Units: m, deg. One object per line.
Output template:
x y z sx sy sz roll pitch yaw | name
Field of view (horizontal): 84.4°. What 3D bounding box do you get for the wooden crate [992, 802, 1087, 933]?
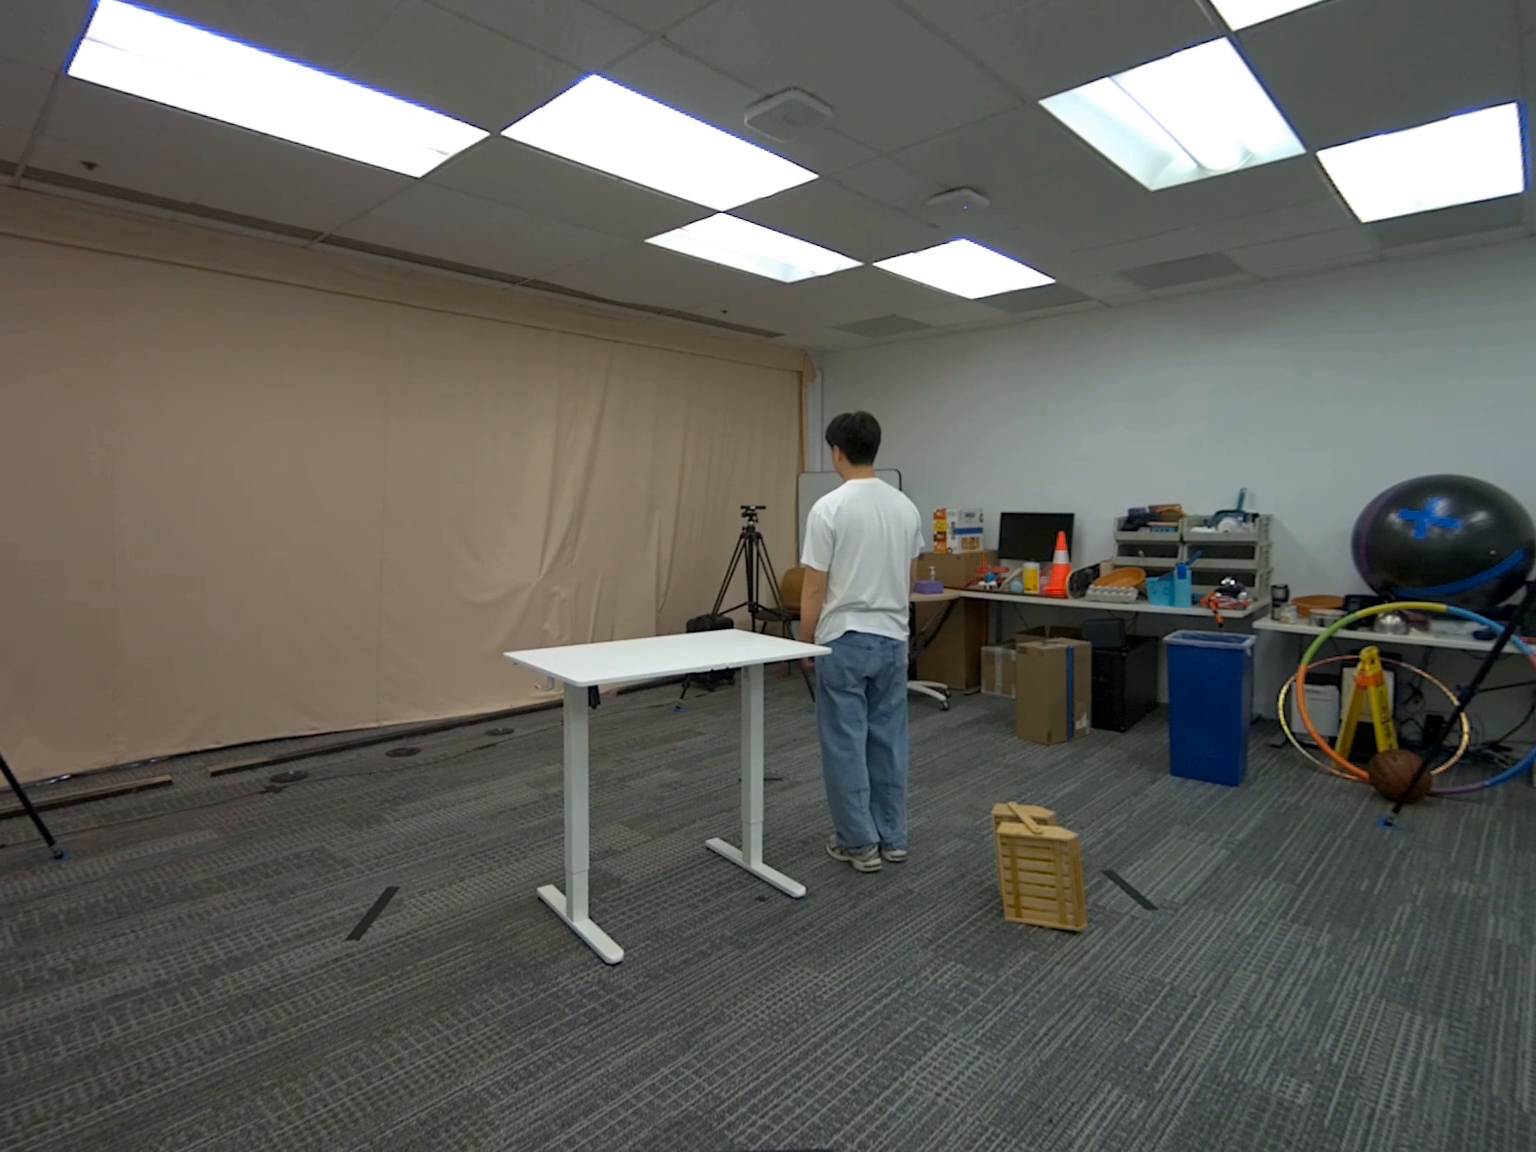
0.935 0.986 2.886 0.309 0.323 0.267 -3 5 26 | wooden crate
